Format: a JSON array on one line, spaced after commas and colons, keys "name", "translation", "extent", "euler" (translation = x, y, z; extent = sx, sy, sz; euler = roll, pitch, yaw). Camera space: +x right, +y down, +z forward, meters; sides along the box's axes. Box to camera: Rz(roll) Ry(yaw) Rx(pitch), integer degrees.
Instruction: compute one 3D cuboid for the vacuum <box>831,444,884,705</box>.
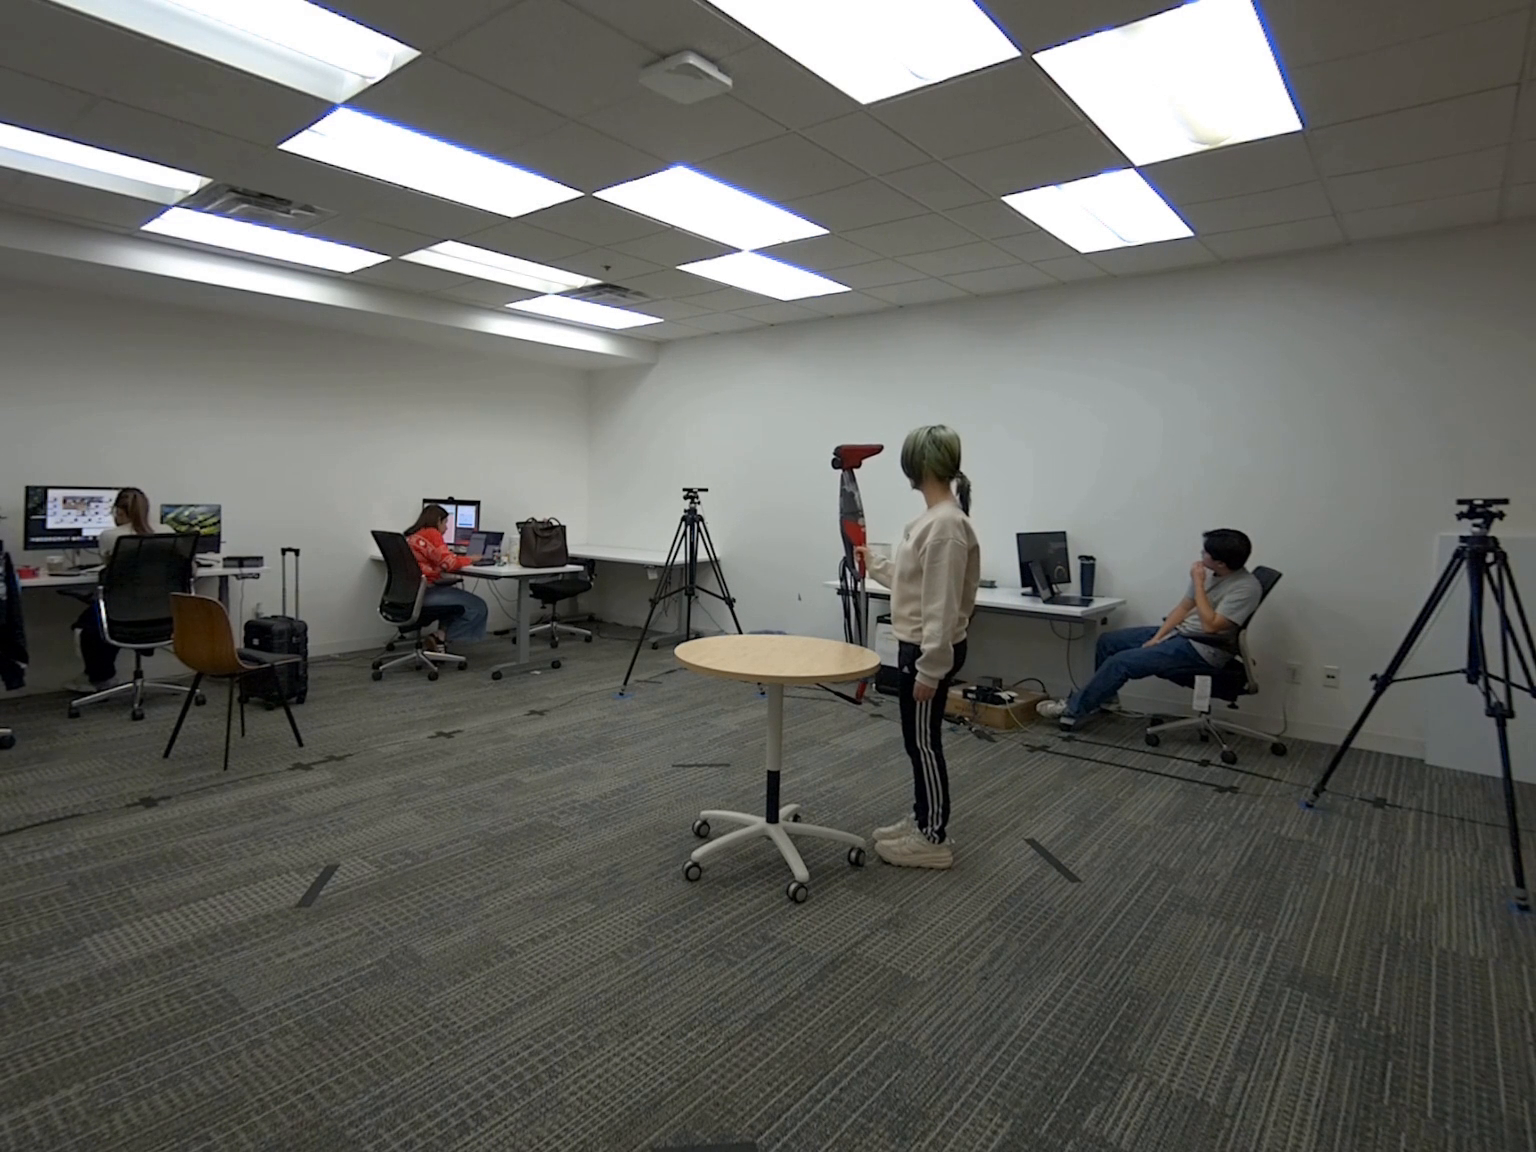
[{"name": "vacuum", "translation": [0.359, -0.001, 3.608], "extent": [0.245, 1.045, 0.148], "euler": [-2, 5, -34]}]
